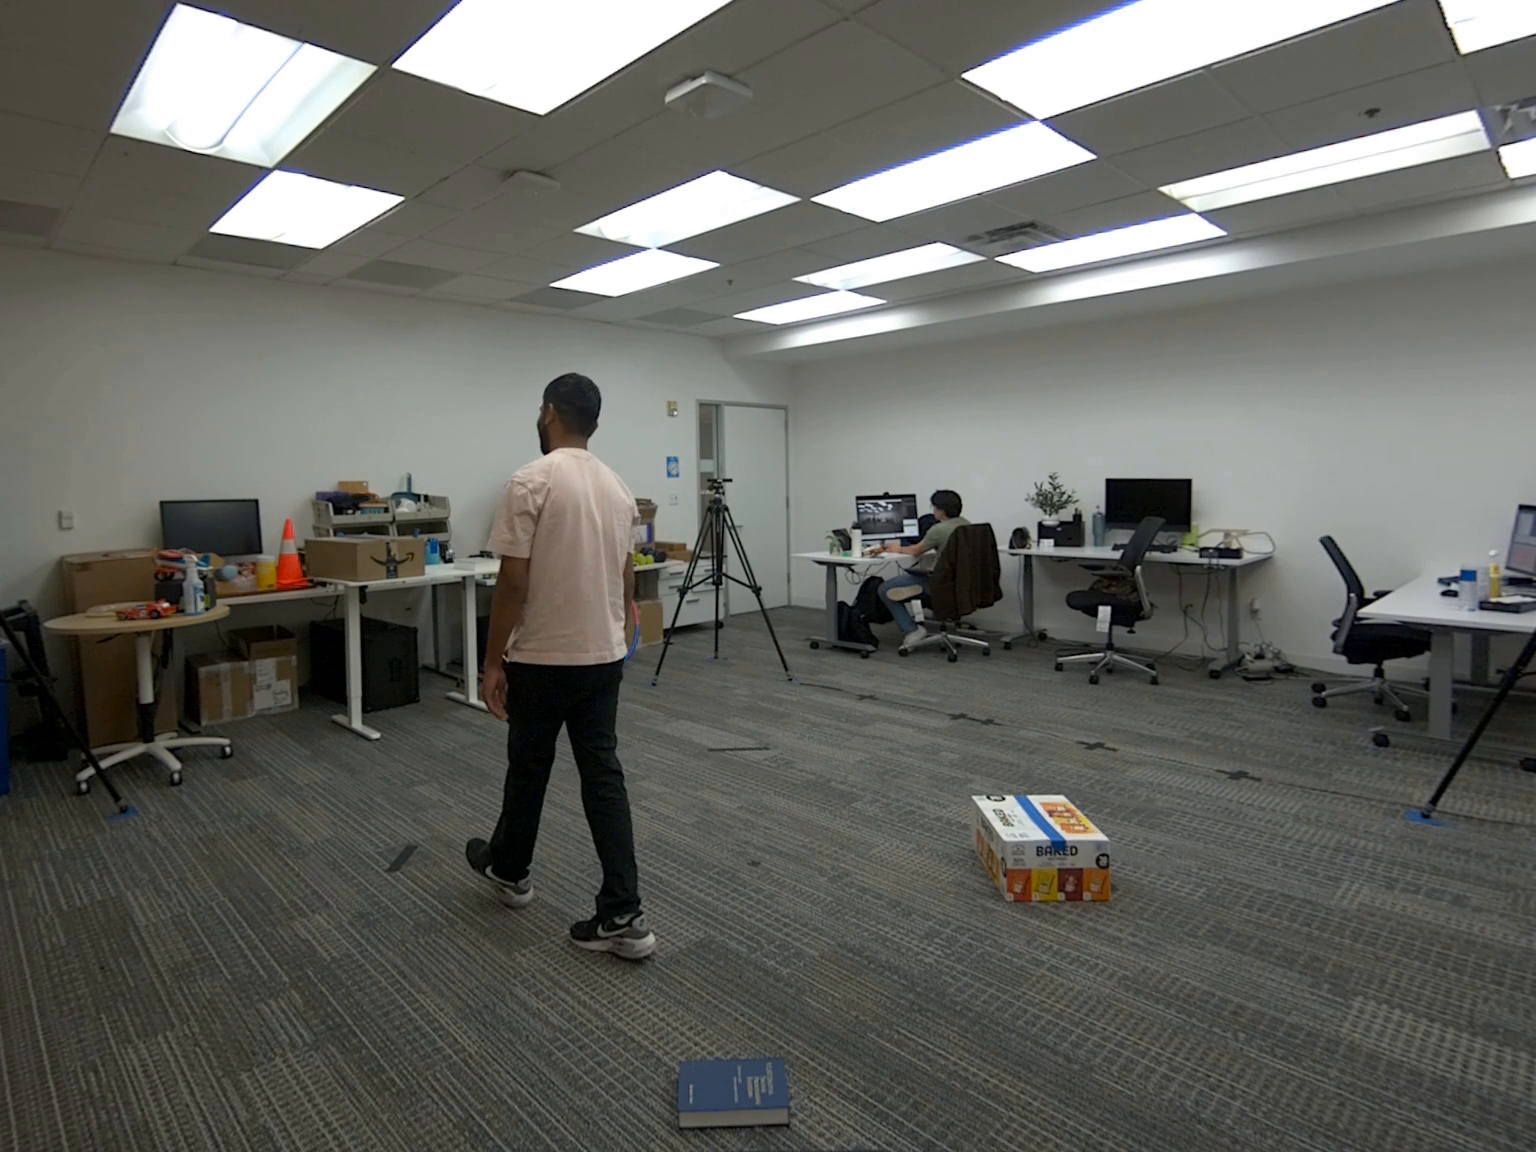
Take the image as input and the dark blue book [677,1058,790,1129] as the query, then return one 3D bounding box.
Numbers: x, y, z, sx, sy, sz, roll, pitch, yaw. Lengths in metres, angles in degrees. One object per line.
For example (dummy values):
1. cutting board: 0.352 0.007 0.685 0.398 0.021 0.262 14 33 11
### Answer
1. dark blue book: -0.079 1.164 1.924 0.245 0.045 0.165 -1 7 -2
